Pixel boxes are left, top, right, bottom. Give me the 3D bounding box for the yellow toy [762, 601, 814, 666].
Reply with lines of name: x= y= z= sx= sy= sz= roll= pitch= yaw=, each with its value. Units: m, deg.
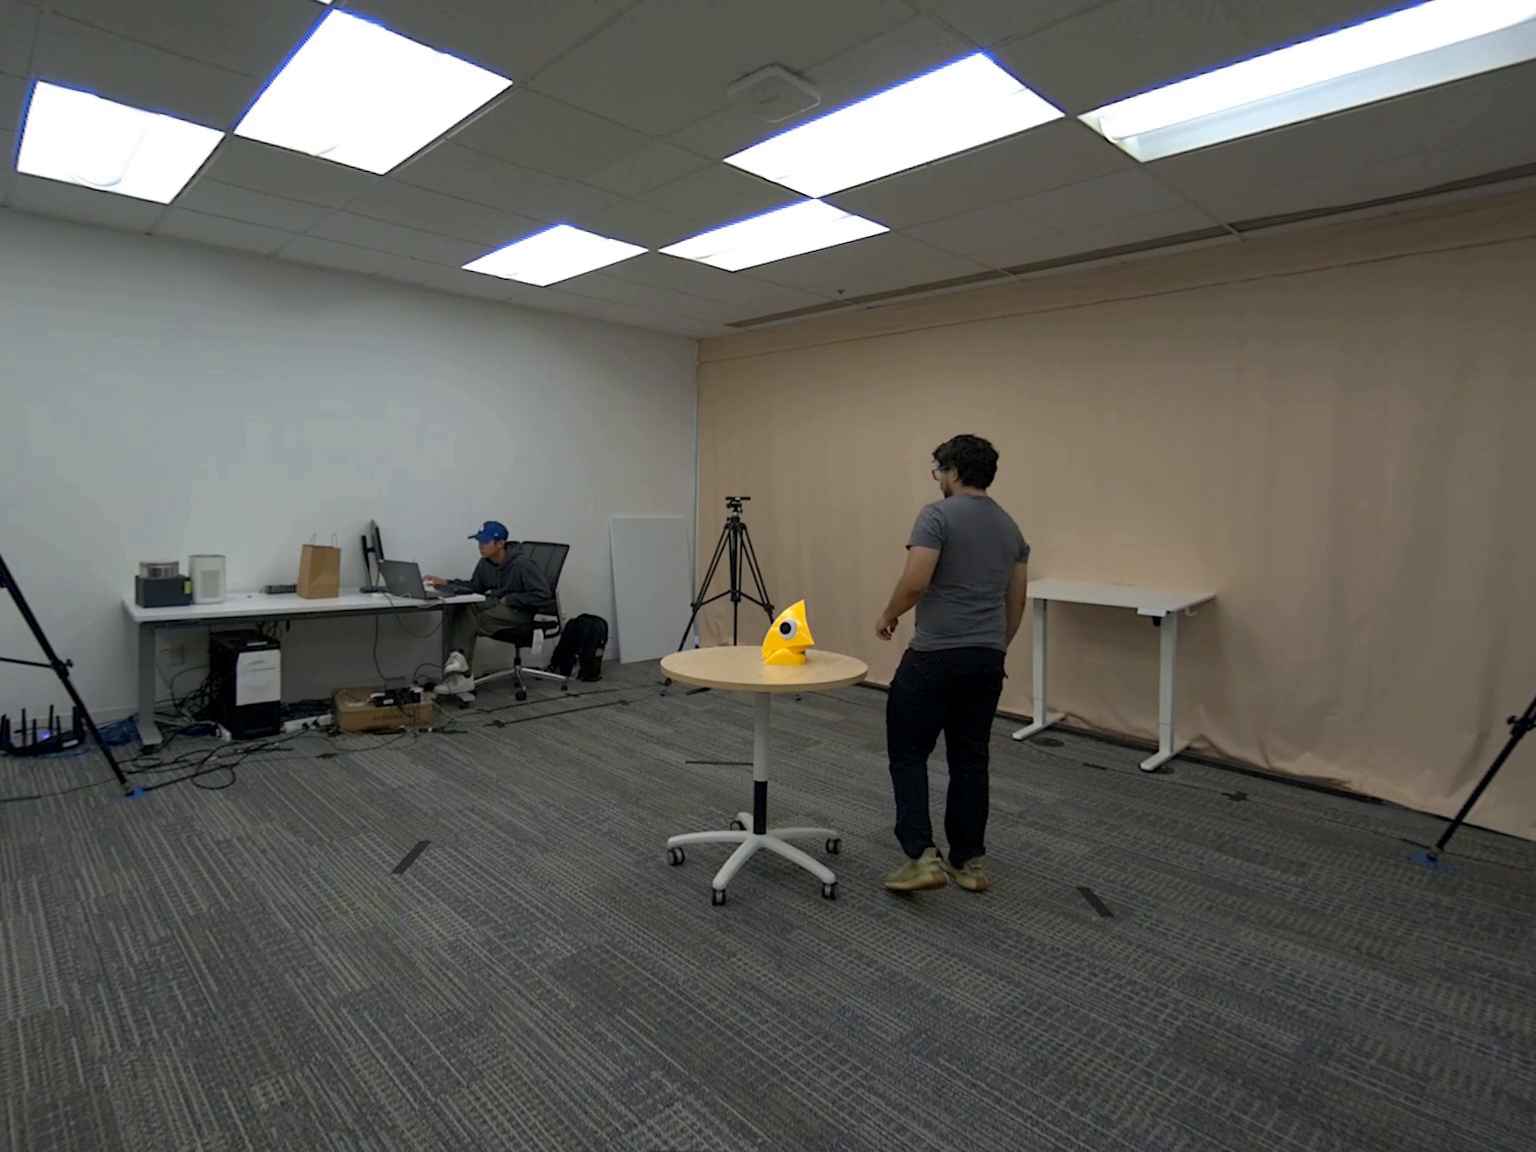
yellow toy: x=0.070 y=0.205 z=3.189 sx=0.193 sy=0.230 sz=0.206 roll=0 pitch=4 yaw=-3
